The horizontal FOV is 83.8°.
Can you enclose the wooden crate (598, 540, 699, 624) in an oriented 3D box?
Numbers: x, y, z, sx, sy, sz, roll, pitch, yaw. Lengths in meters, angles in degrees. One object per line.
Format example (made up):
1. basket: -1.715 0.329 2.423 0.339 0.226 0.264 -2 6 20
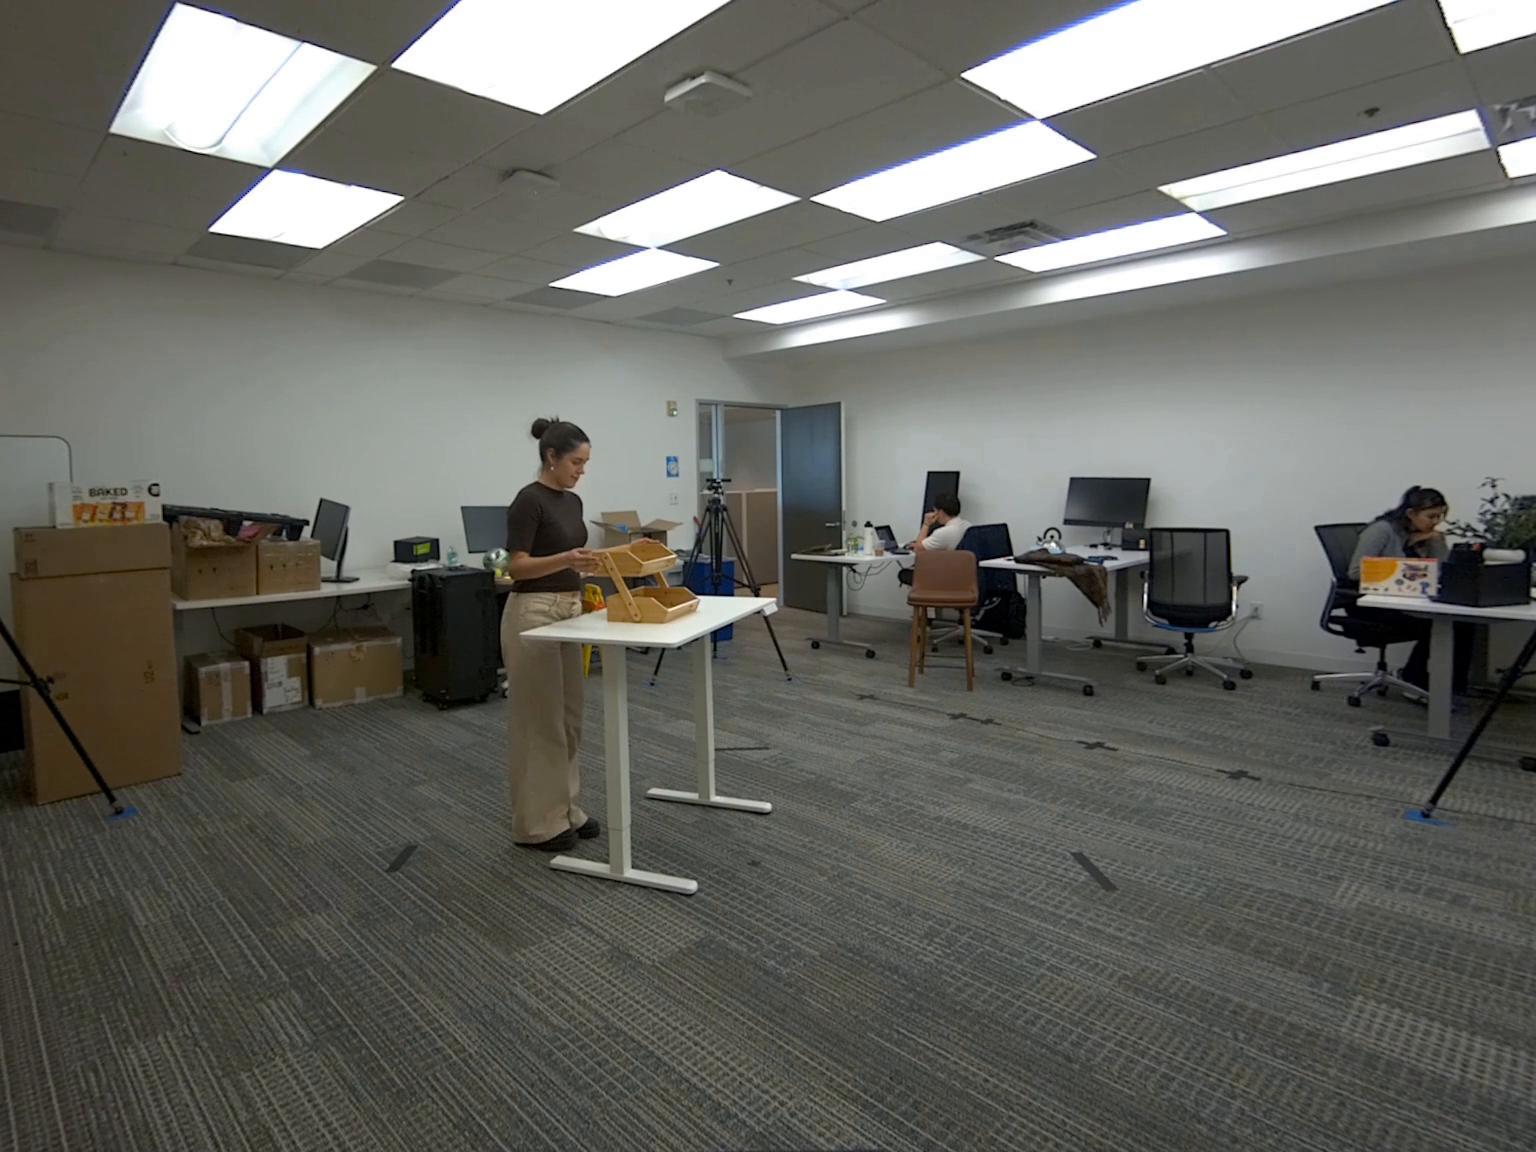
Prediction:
1. wooden crate: -0.457 0.020 3.246 0.307 0.272 0.320 -1 5 19
